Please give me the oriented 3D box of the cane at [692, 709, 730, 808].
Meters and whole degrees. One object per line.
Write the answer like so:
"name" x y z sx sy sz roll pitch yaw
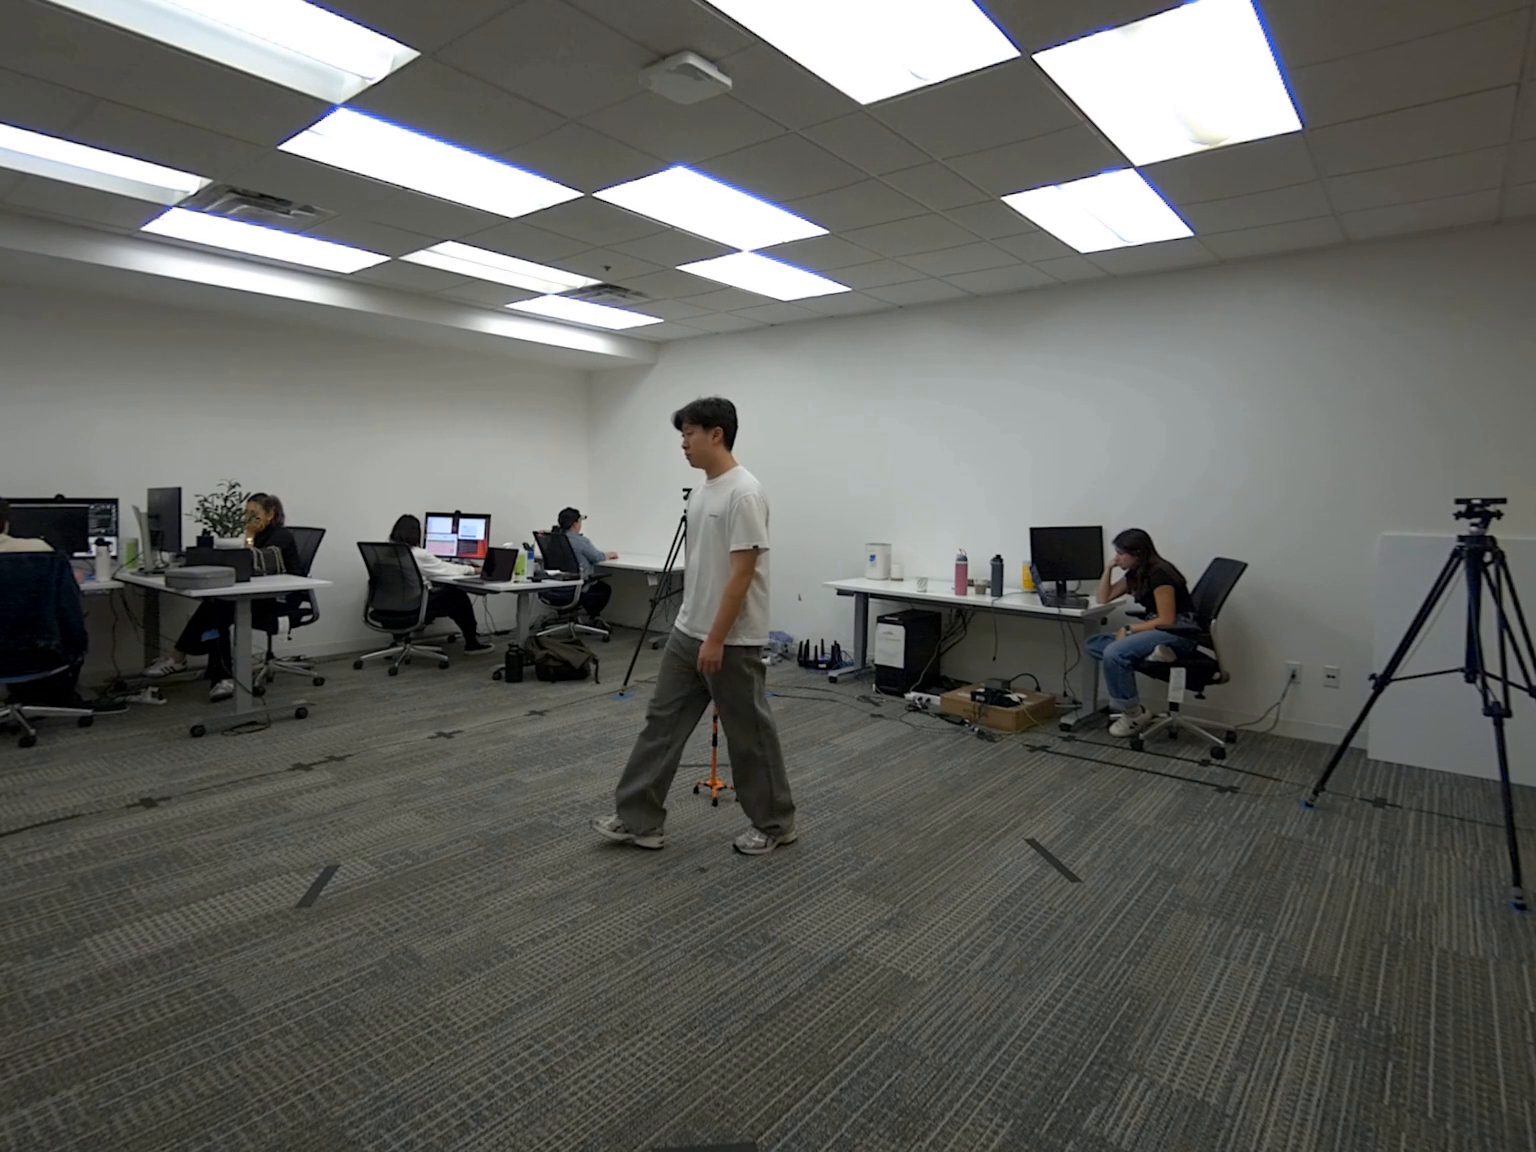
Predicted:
"cane" -0.216 0.543 3.835 0.147 0.906 0.213 0 3 -31
